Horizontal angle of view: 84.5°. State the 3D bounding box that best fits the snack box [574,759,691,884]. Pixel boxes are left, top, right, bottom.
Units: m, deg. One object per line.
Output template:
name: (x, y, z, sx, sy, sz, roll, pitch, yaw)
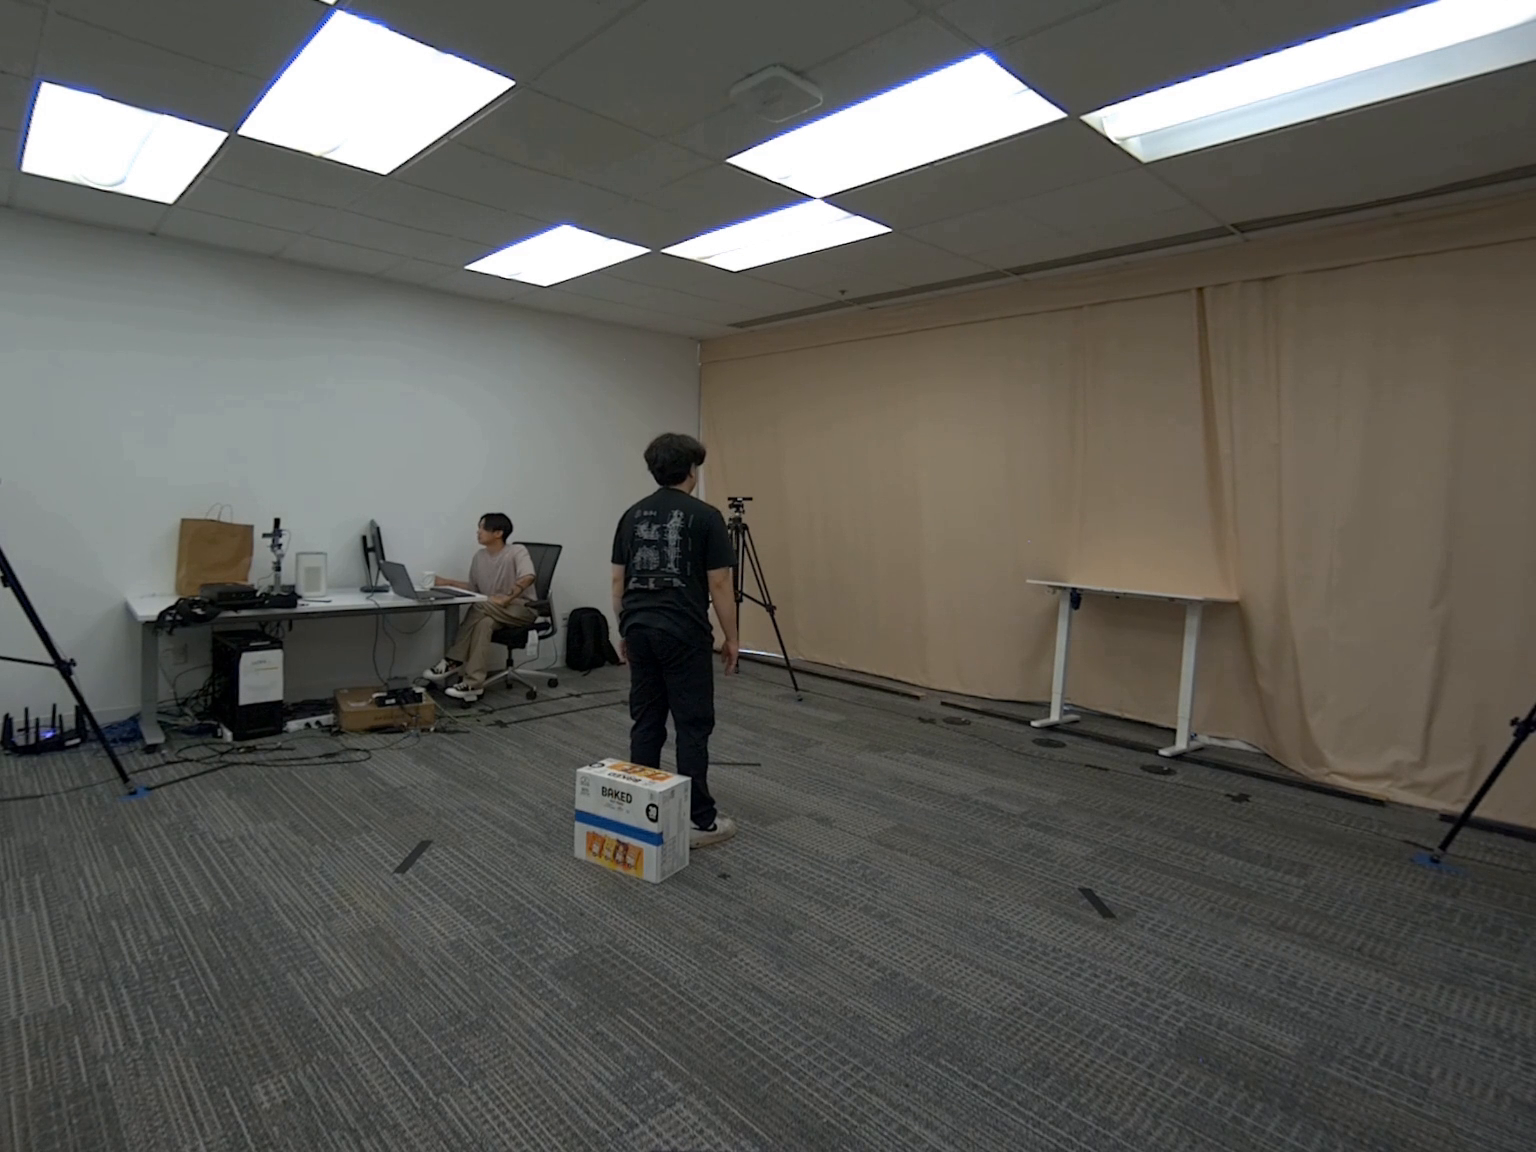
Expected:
snack box: (-0.524, 0.920, 3.206, 0.414, 0.339, 0.201, 5, 4, 31)
